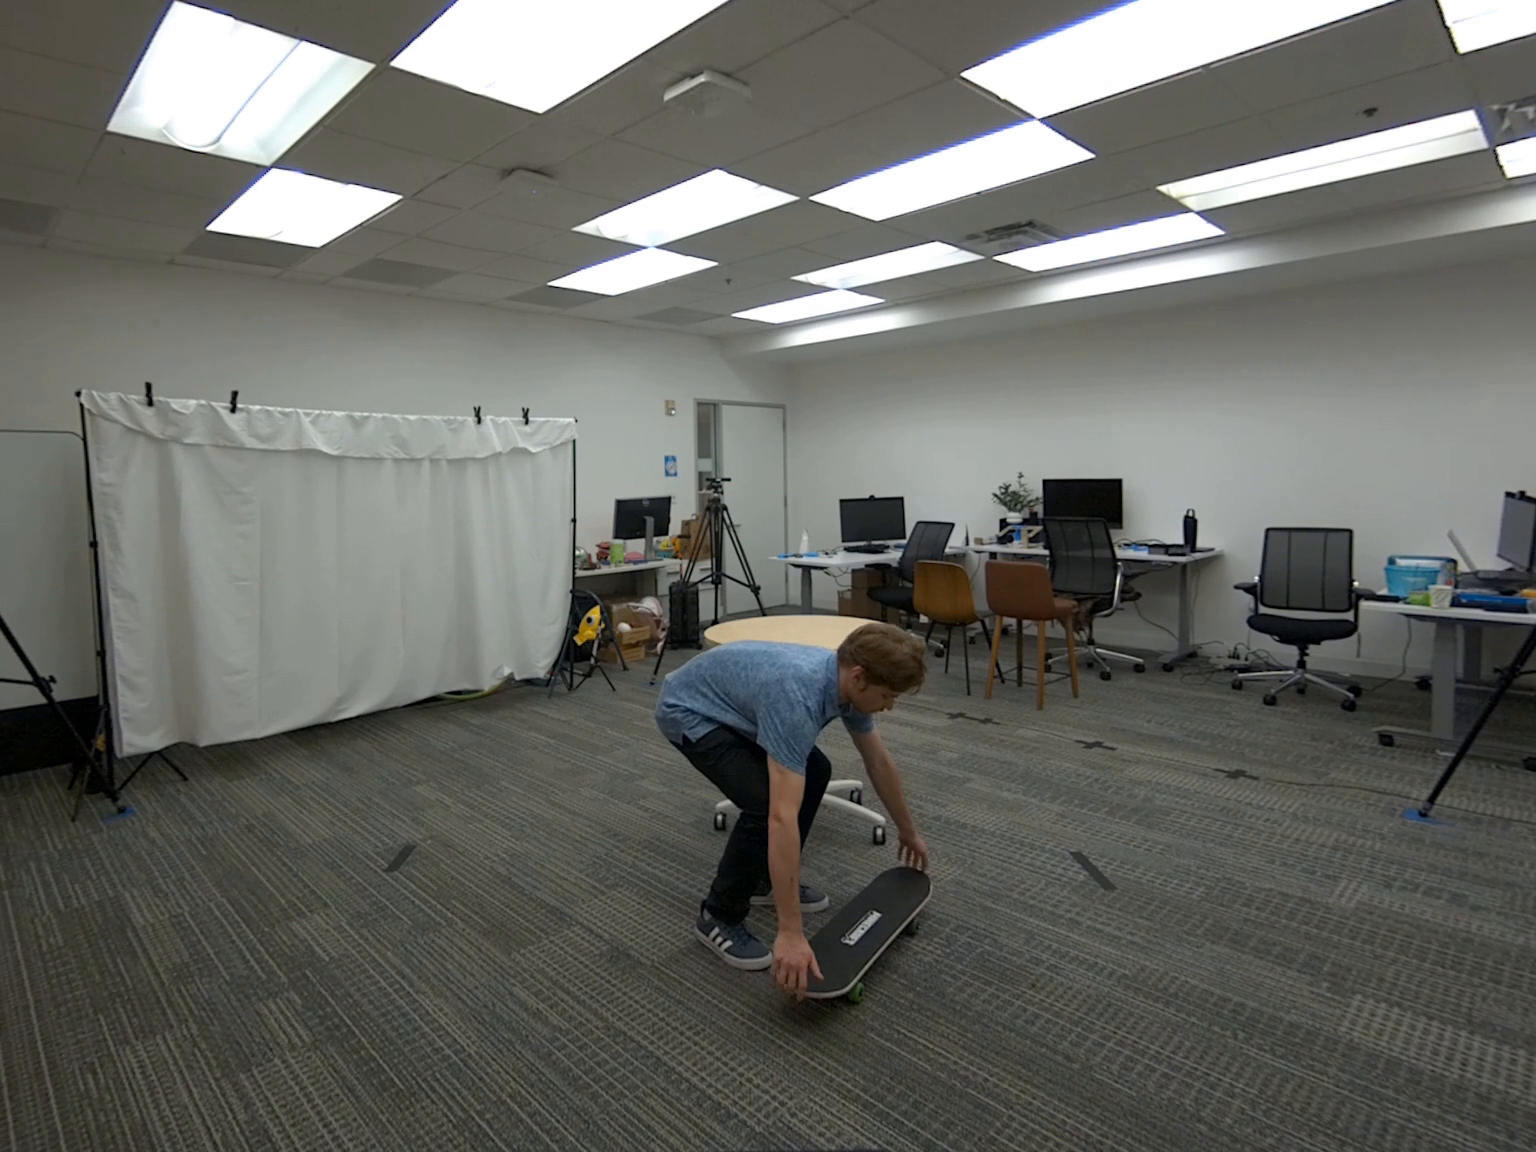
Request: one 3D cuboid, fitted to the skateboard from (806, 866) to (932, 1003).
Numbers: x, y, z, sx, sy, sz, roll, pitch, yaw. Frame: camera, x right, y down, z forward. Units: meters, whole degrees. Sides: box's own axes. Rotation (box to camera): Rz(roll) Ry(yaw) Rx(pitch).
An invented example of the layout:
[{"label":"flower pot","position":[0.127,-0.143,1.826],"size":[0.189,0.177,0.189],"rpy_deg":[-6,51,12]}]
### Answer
[{"label":"skateboard","position":[0.276,1.056,2.483],"size":[0.199,0.110,0.768],"rpy_deg":[3,8,31]}]
